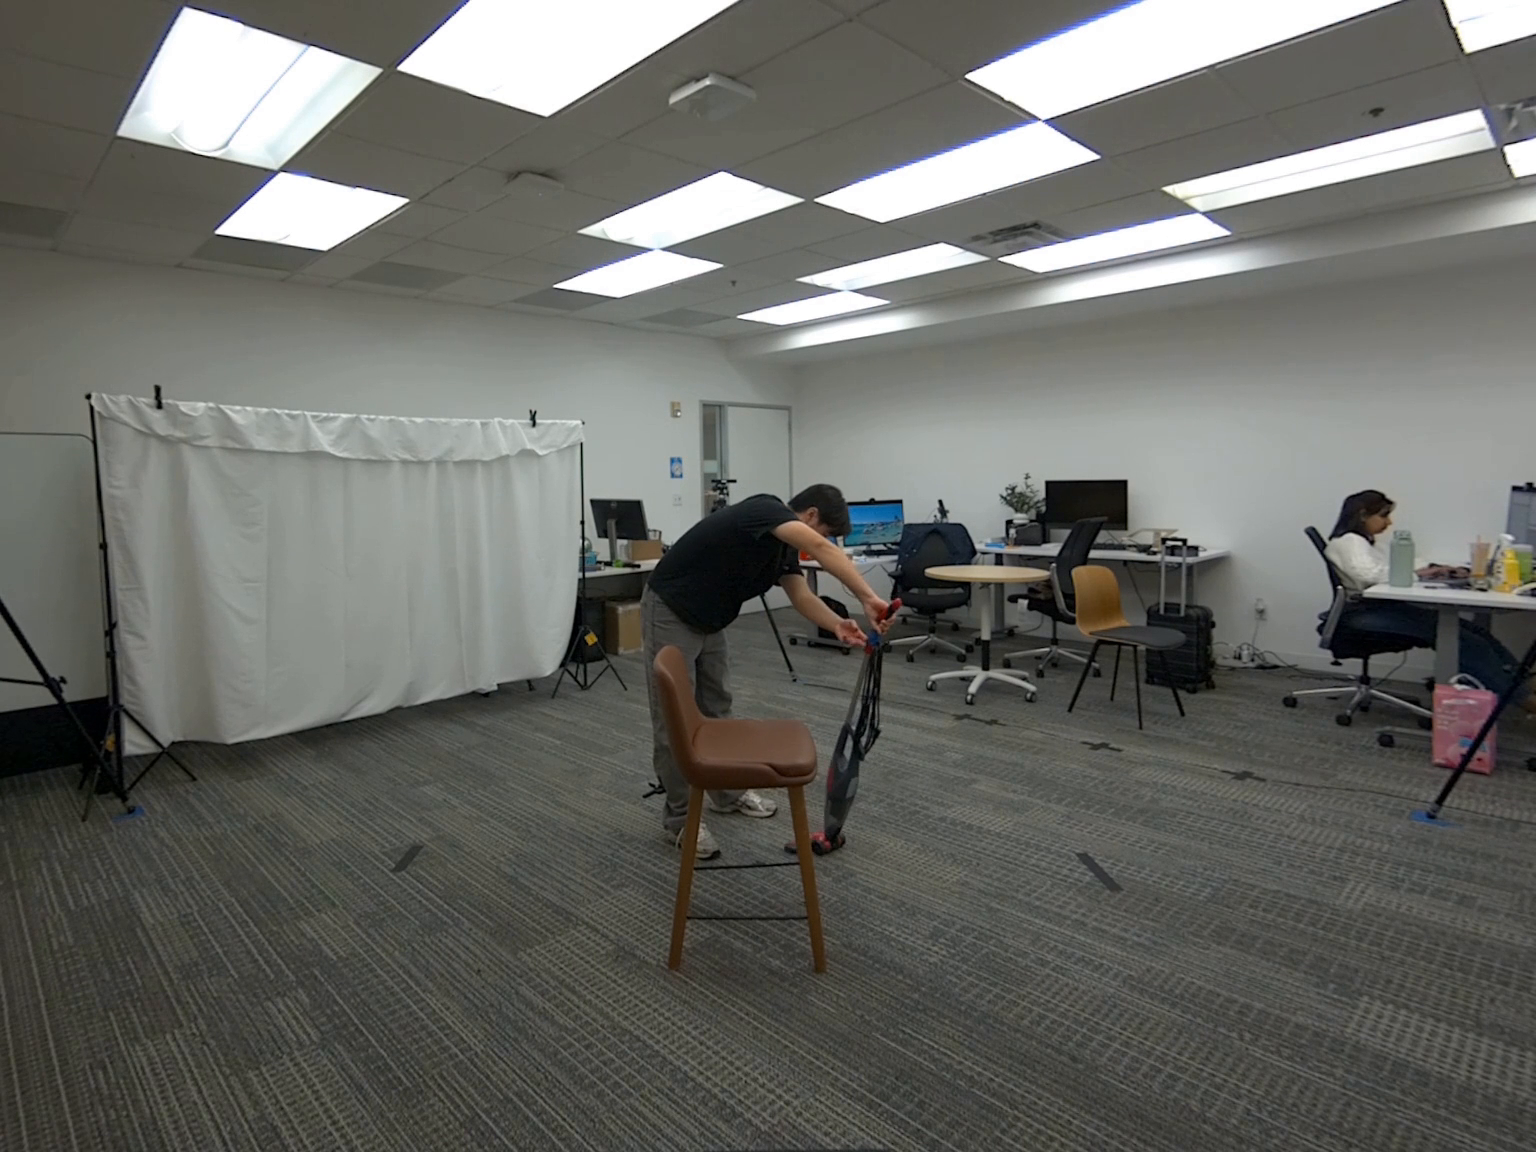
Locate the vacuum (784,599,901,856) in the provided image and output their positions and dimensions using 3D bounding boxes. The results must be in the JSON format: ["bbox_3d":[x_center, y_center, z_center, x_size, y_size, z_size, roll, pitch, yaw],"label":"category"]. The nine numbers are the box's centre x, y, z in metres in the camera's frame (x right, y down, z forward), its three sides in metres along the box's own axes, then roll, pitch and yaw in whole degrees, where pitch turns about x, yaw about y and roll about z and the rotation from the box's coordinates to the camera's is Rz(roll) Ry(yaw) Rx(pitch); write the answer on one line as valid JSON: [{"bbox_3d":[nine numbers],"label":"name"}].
[{"bbox_3d":[0.318,0.558,3.060,0.246,1.035,0.149,-8,31,-44],"label":"vacuum"}]
